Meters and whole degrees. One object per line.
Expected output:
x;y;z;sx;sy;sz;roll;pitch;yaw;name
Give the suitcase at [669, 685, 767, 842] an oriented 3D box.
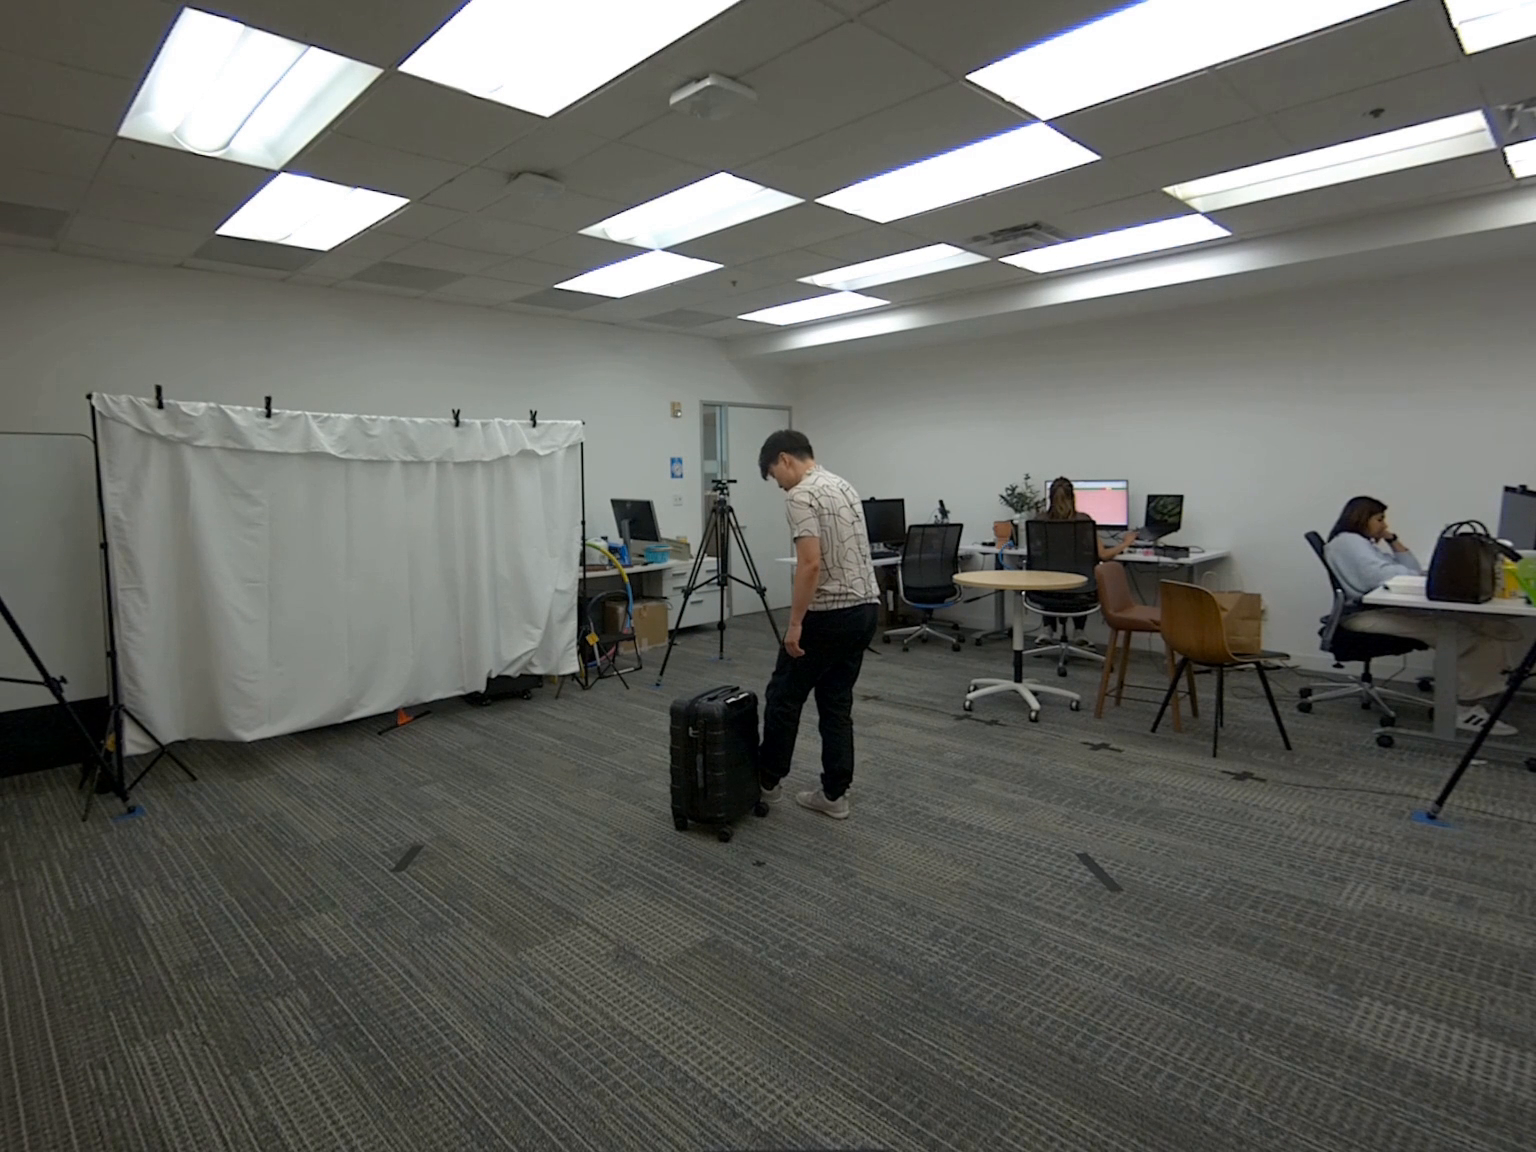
-0.211;0.734;3.480;0.255;0.547;0.367;-1;5;32;suitcase
